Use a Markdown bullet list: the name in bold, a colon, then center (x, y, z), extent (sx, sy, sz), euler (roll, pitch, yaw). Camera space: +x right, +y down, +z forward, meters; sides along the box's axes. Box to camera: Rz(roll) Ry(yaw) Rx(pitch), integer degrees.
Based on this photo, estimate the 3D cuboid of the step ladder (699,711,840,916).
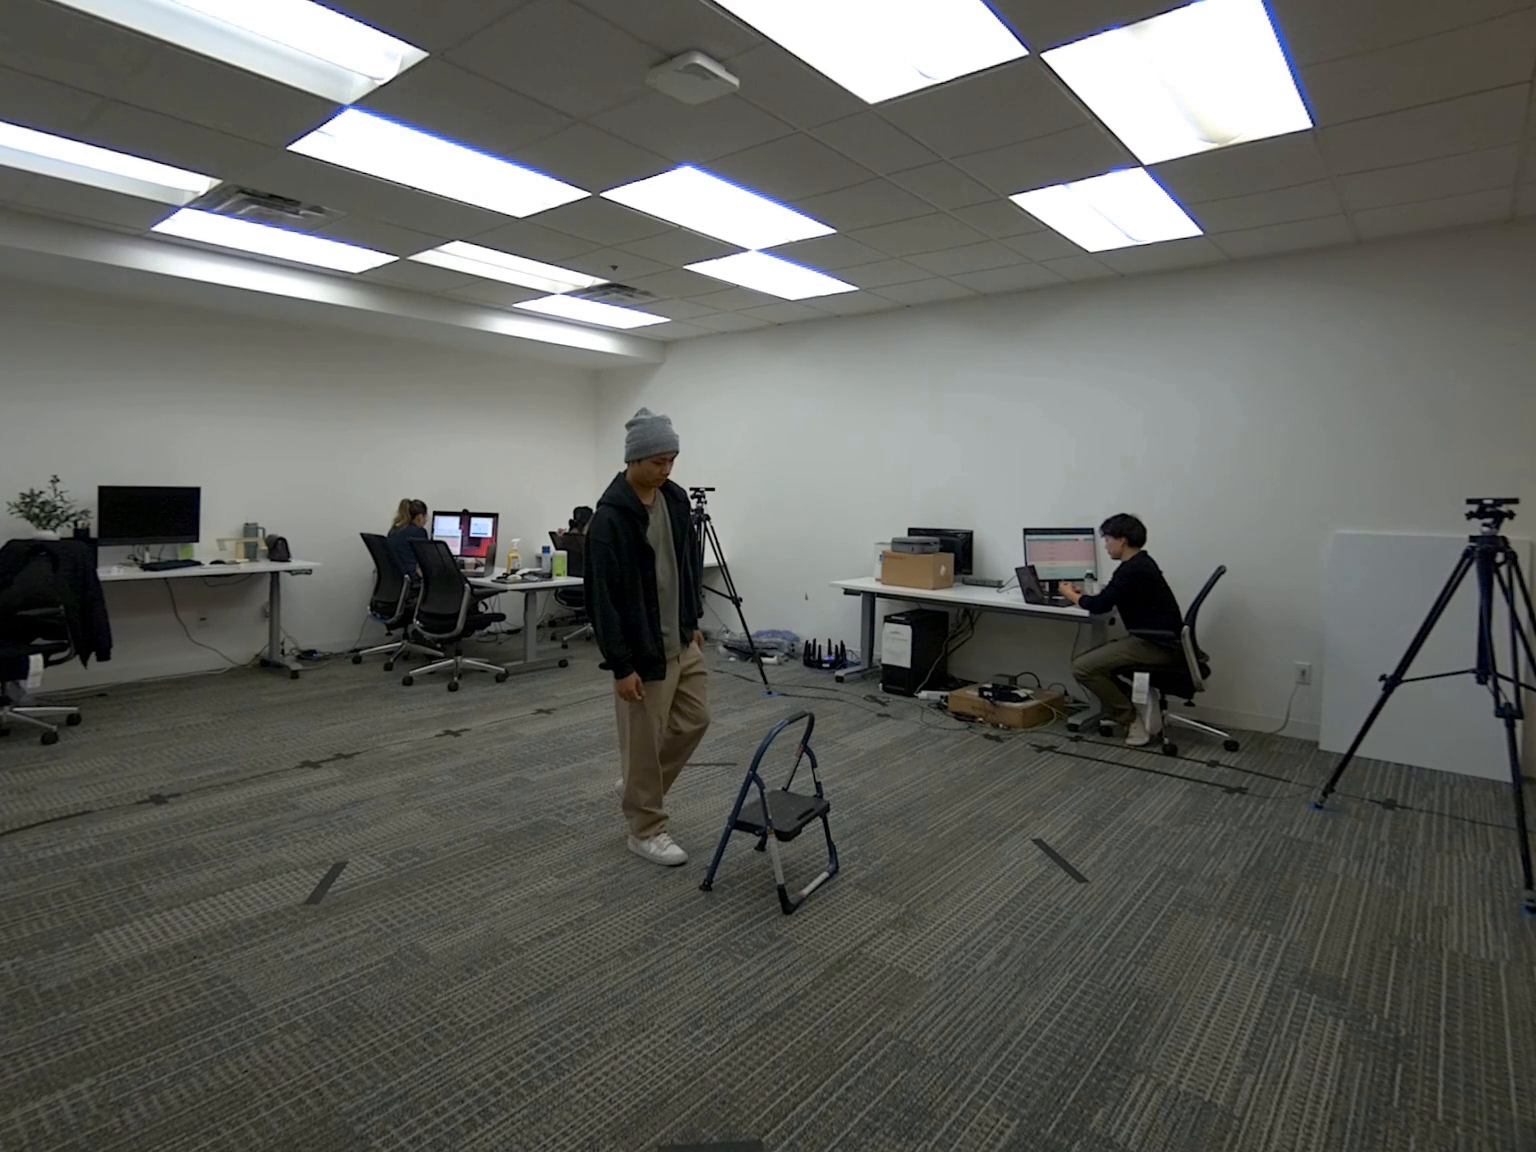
- **step ladder**: center (0.014, 0.777, 3.016), extent (0.359, 0.604, 0.419), euler (3, 4, 29)
